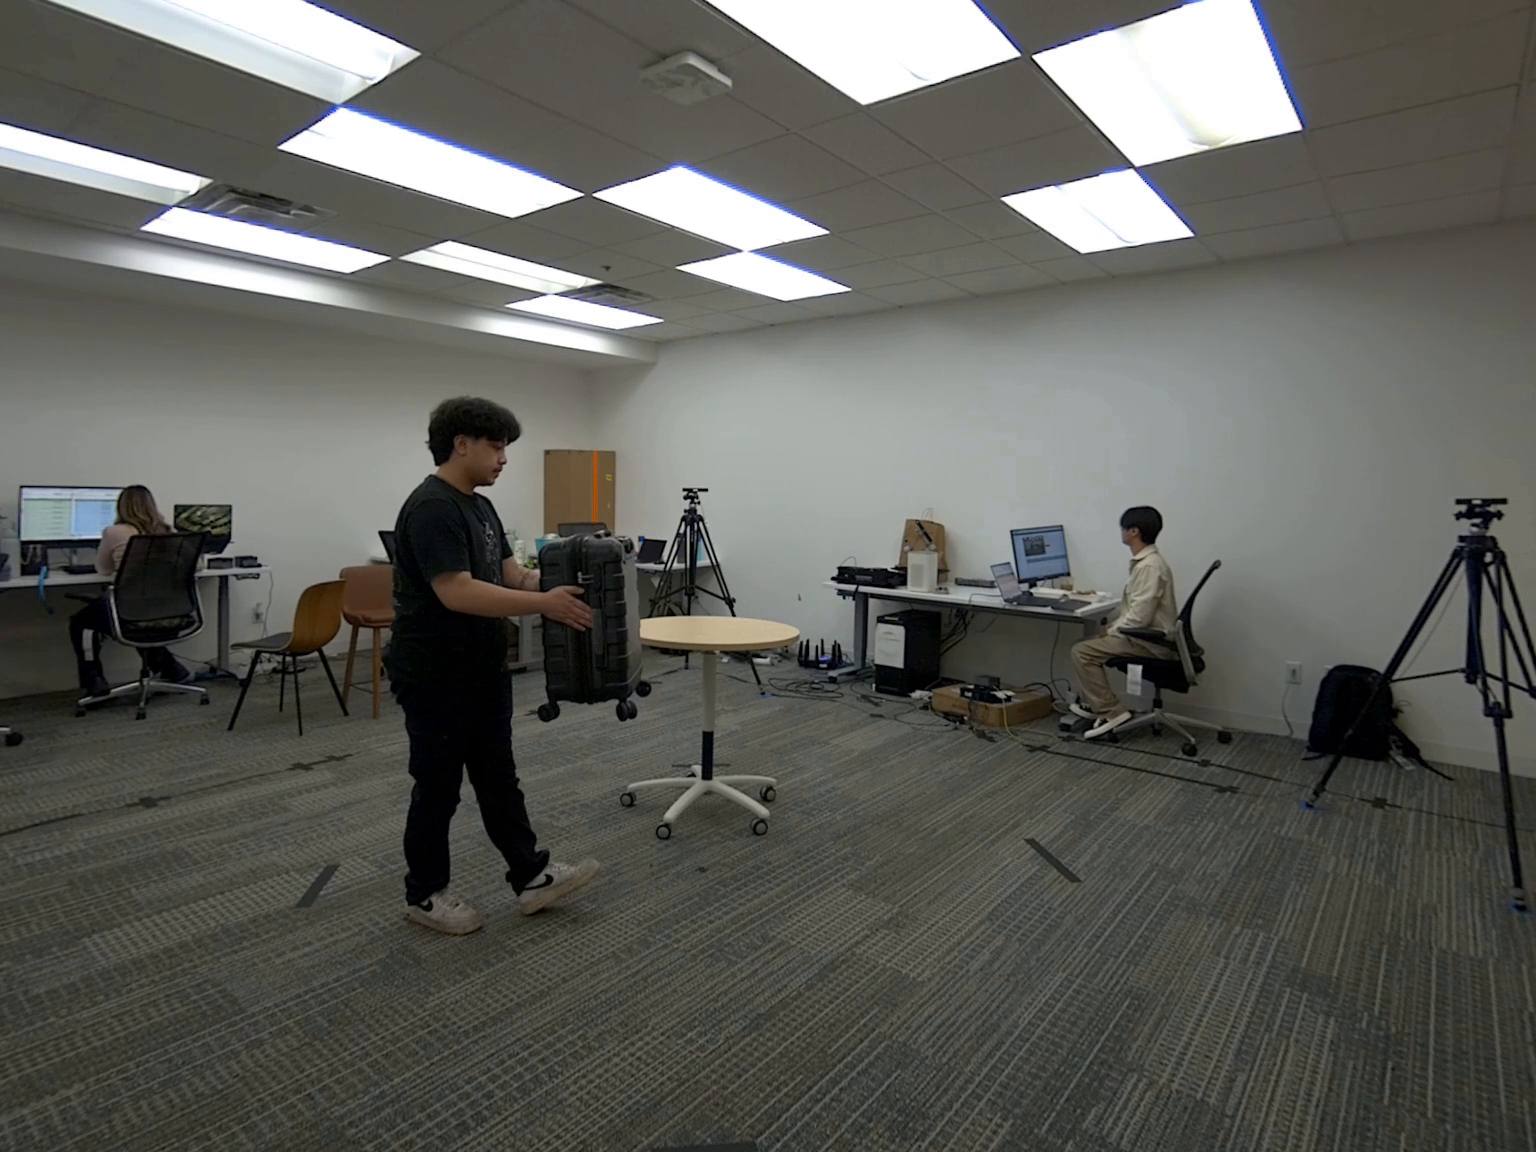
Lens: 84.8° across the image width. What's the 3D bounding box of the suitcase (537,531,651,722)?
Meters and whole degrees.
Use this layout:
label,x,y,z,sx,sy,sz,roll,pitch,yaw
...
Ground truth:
label,x,y,z,sx,sy,sz,roll,pitch,yaw
suitcase,-0.562,0.139,2.649,0.250,0.547,0.374,-2,4,5
